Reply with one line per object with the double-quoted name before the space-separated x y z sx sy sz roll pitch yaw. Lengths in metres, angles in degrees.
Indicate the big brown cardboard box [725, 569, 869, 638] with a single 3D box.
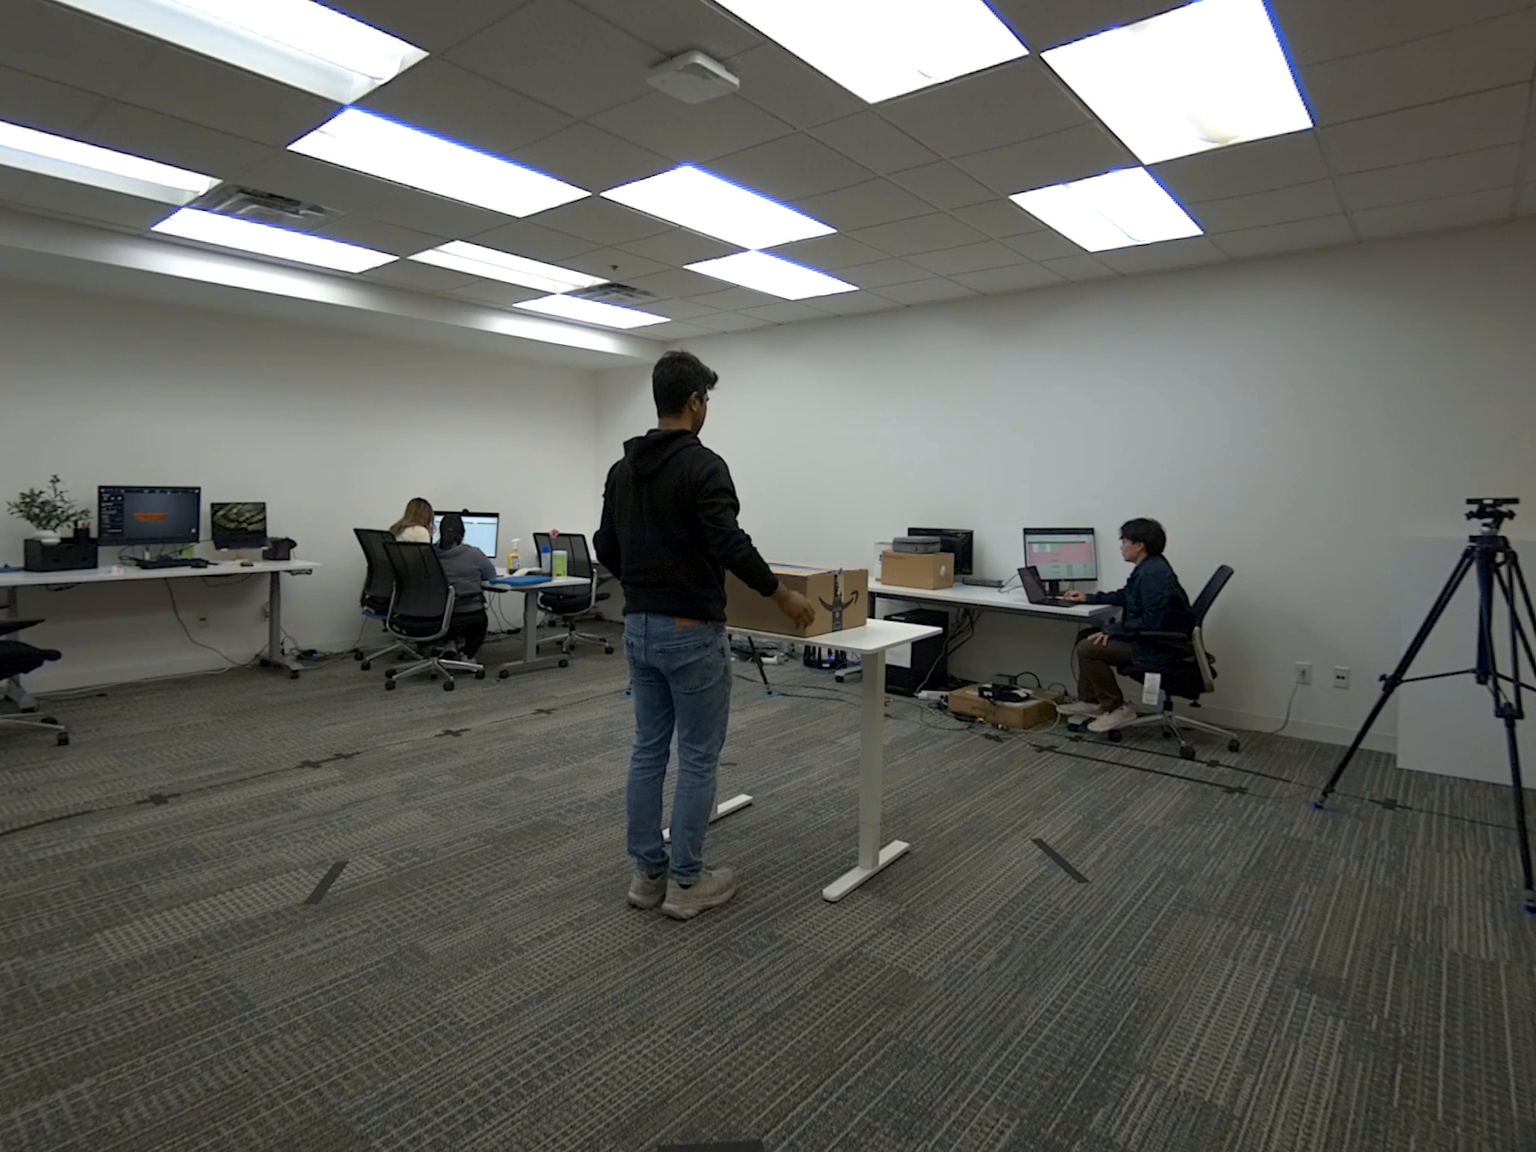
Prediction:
"big brown cardboard box" 0.016 0.063 3.252 0.609 0.232 0.405 7 7 37
